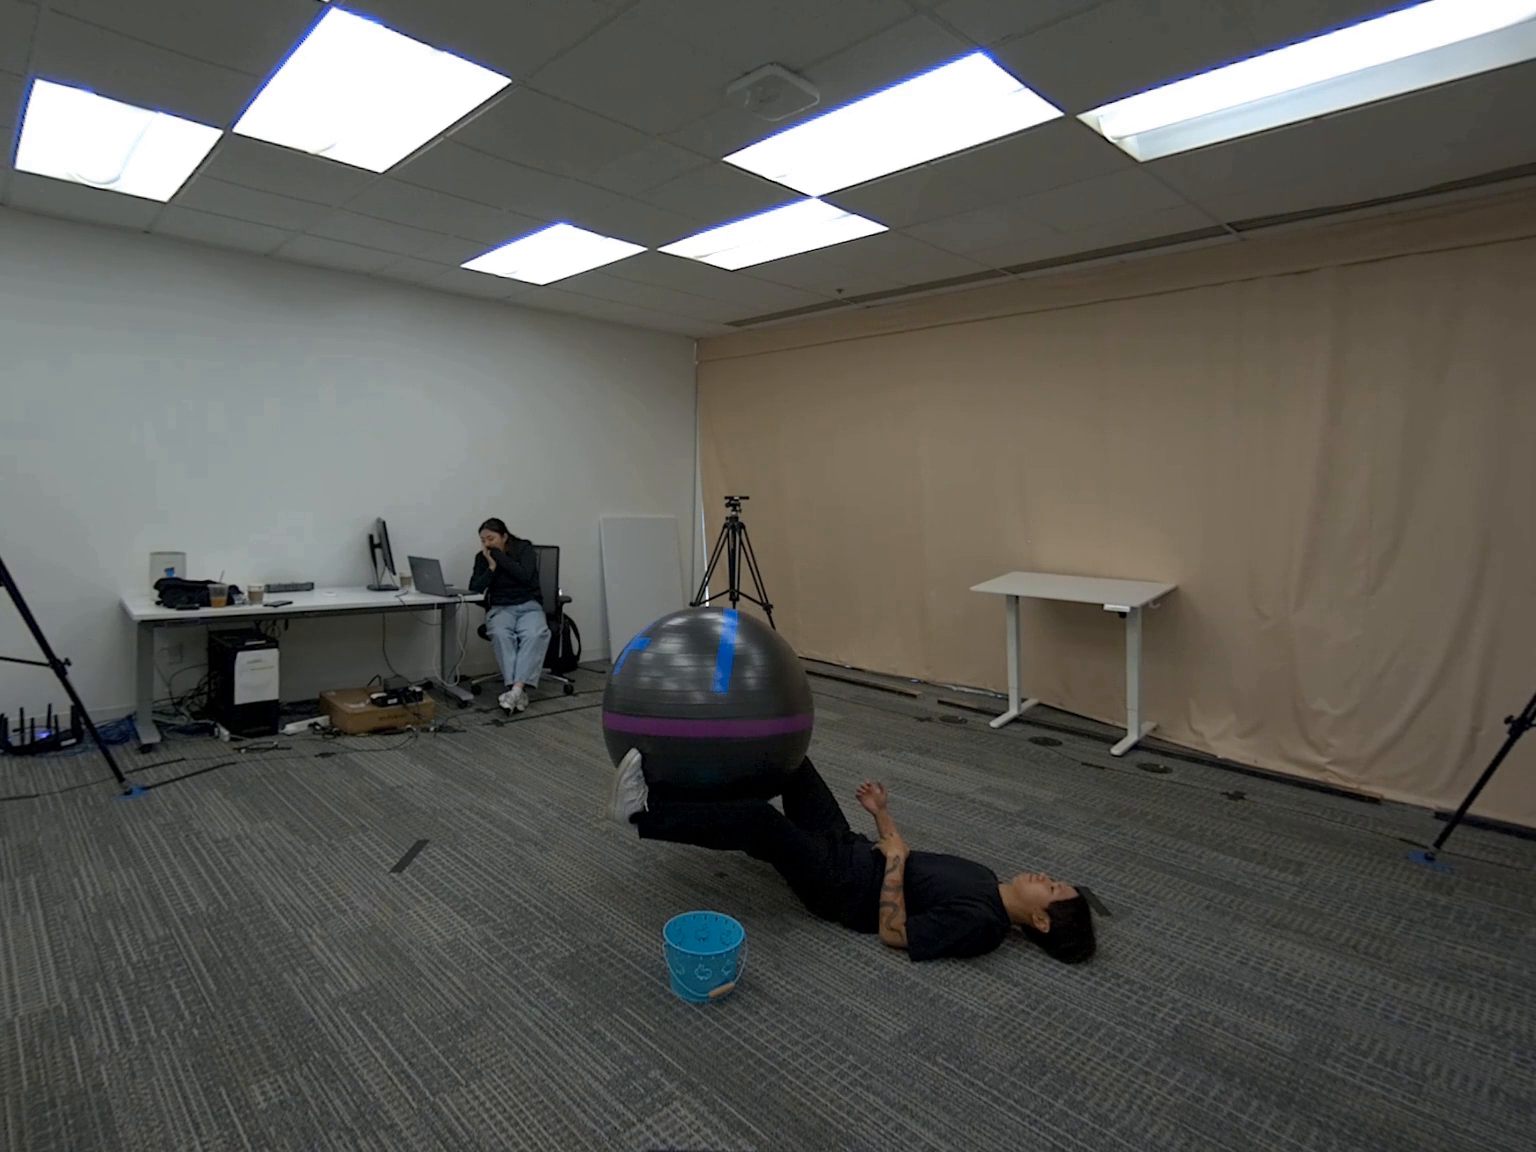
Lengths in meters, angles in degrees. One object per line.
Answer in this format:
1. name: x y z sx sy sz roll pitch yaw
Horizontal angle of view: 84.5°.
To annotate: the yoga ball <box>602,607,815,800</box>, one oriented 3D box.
1. yoga ball: -0.214 0.488 3.051 0.757 0.756 0.761 1 4 -1
